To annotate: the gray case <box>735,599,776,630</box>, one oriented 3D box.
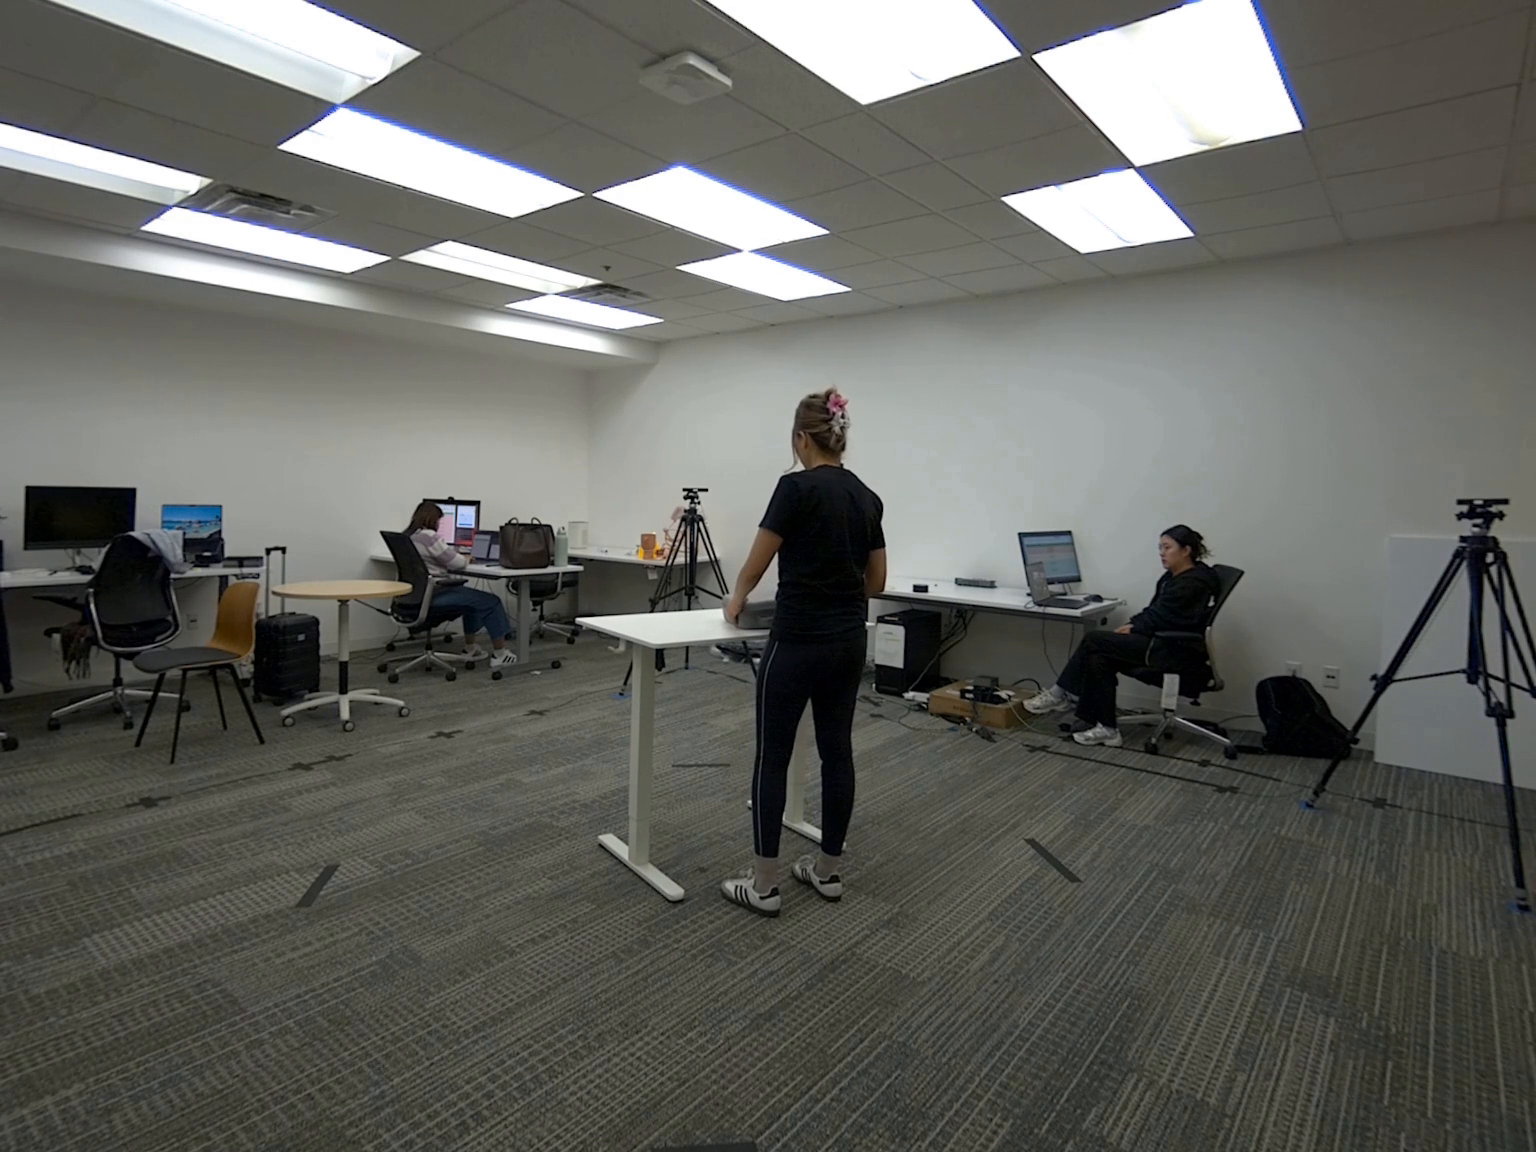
[{"bbox_3d":[-0.034,0.121,3.216,0.254,0.104,0.265,-4,8,-11],"label":"gray case"}]
